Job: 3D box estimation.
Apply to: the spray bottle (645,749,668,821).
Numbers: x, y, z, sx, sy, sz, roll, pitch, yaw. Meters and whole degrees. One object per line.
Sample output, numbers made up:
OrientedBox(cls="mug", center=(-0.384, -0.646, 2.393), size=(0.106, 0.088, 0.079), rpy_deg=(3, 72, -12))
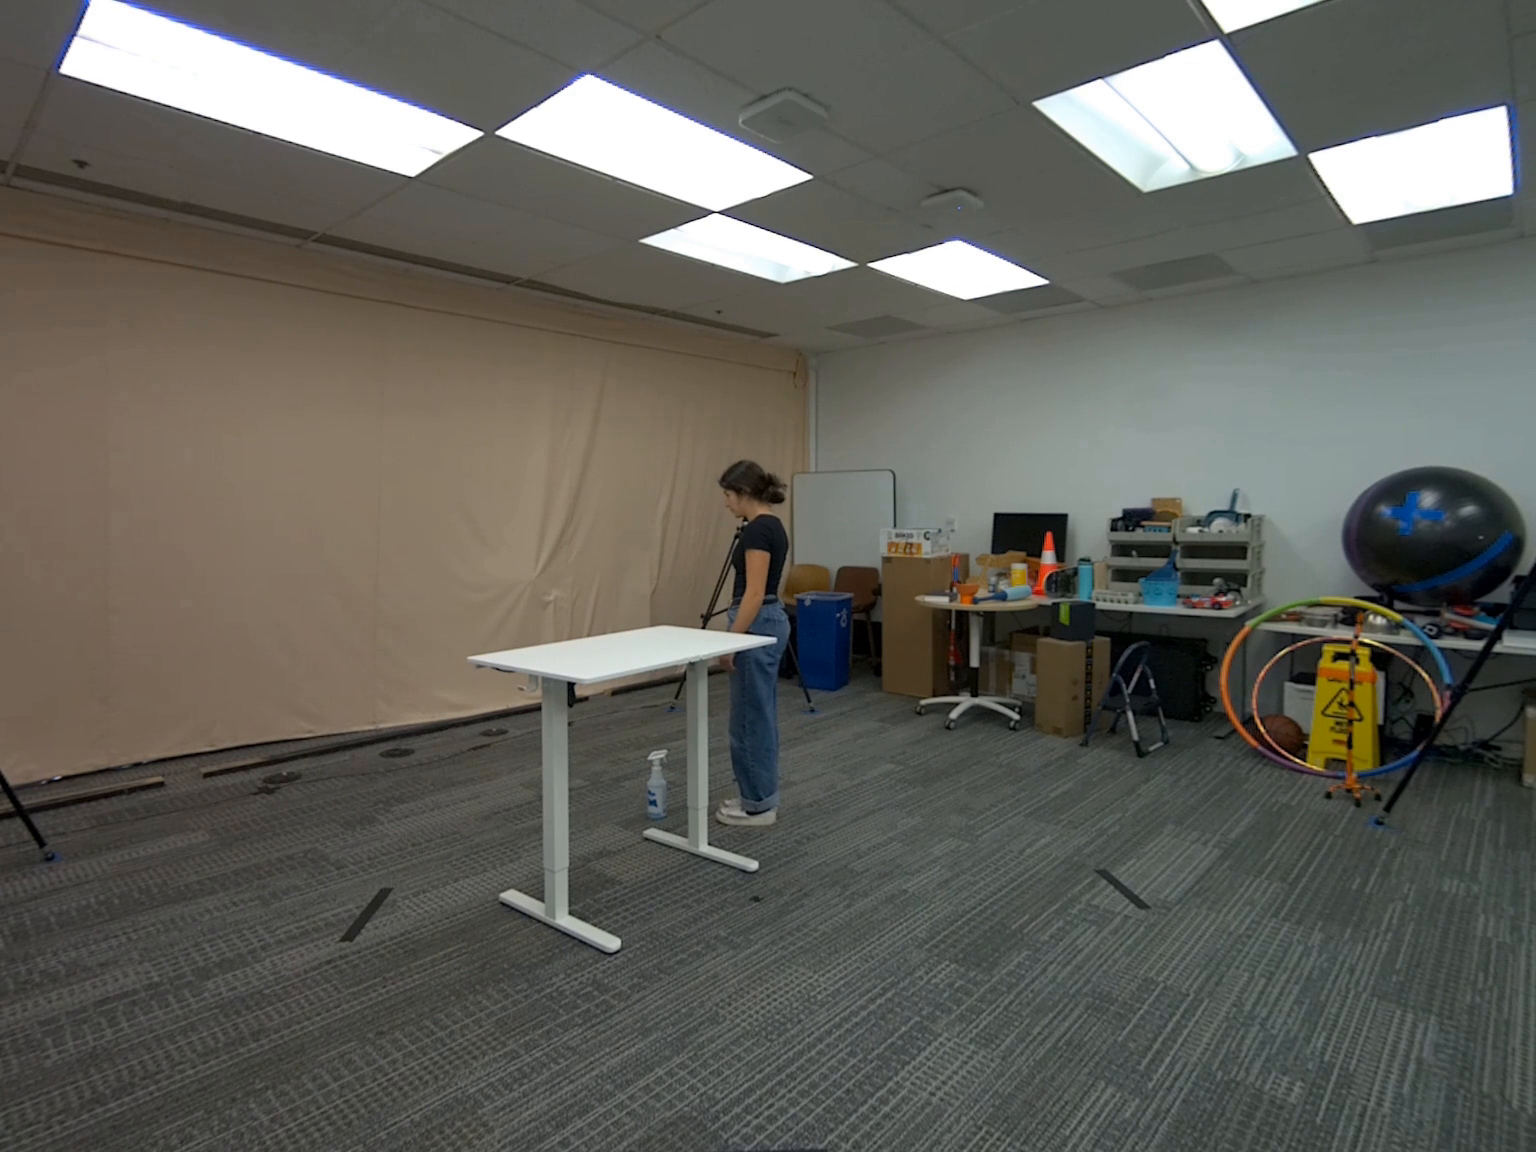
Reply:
OrientedBox(cls="spray bottle", center=(-0.497, 0.941, 3.786), size=(0.090, 0.297, 0.087), rpy_deg=(1, 3, 3))
